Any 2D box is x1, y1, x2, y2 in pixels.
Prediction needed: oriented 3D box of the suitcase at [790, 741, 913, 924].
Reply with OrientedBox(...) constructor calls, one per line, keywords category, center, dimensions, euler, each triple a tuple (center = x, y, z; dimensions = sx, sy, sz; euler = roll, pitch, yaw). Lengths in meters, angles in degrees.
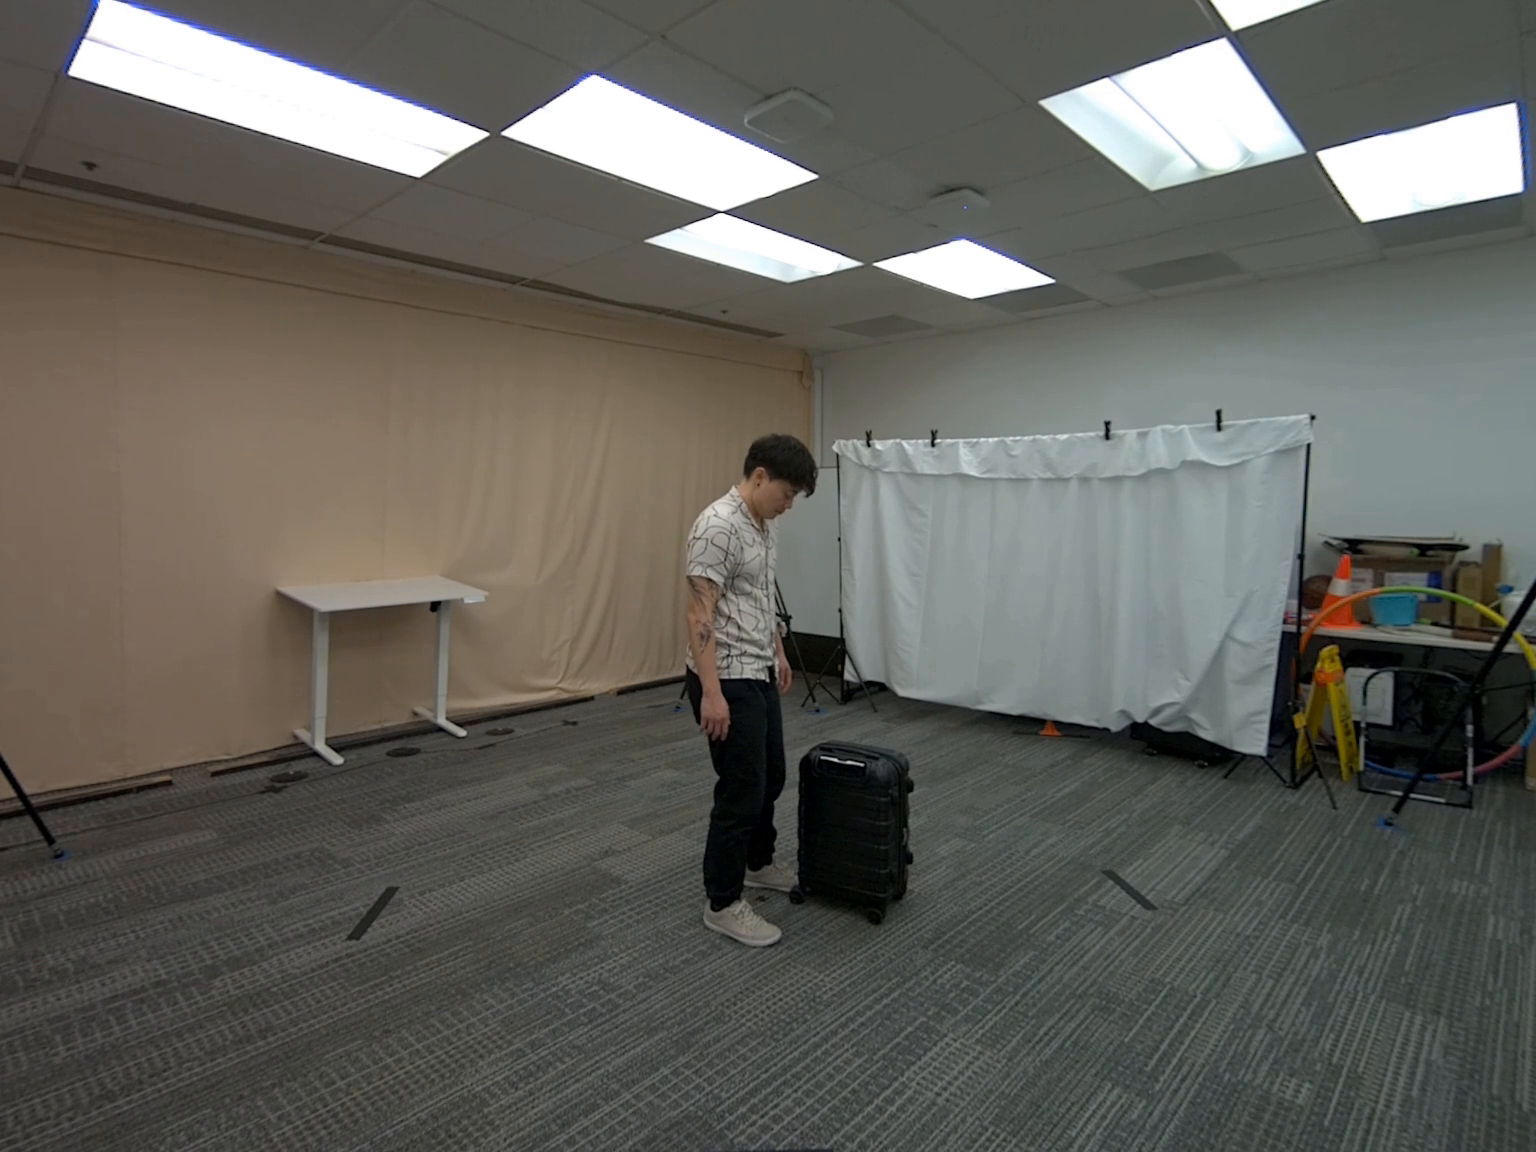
OrientedBox(category="suitcase", center=(0.305, 0.868, 2.959), dimensions=(0.386, 0.548, 0.242), euler=(2, 3, 29))
